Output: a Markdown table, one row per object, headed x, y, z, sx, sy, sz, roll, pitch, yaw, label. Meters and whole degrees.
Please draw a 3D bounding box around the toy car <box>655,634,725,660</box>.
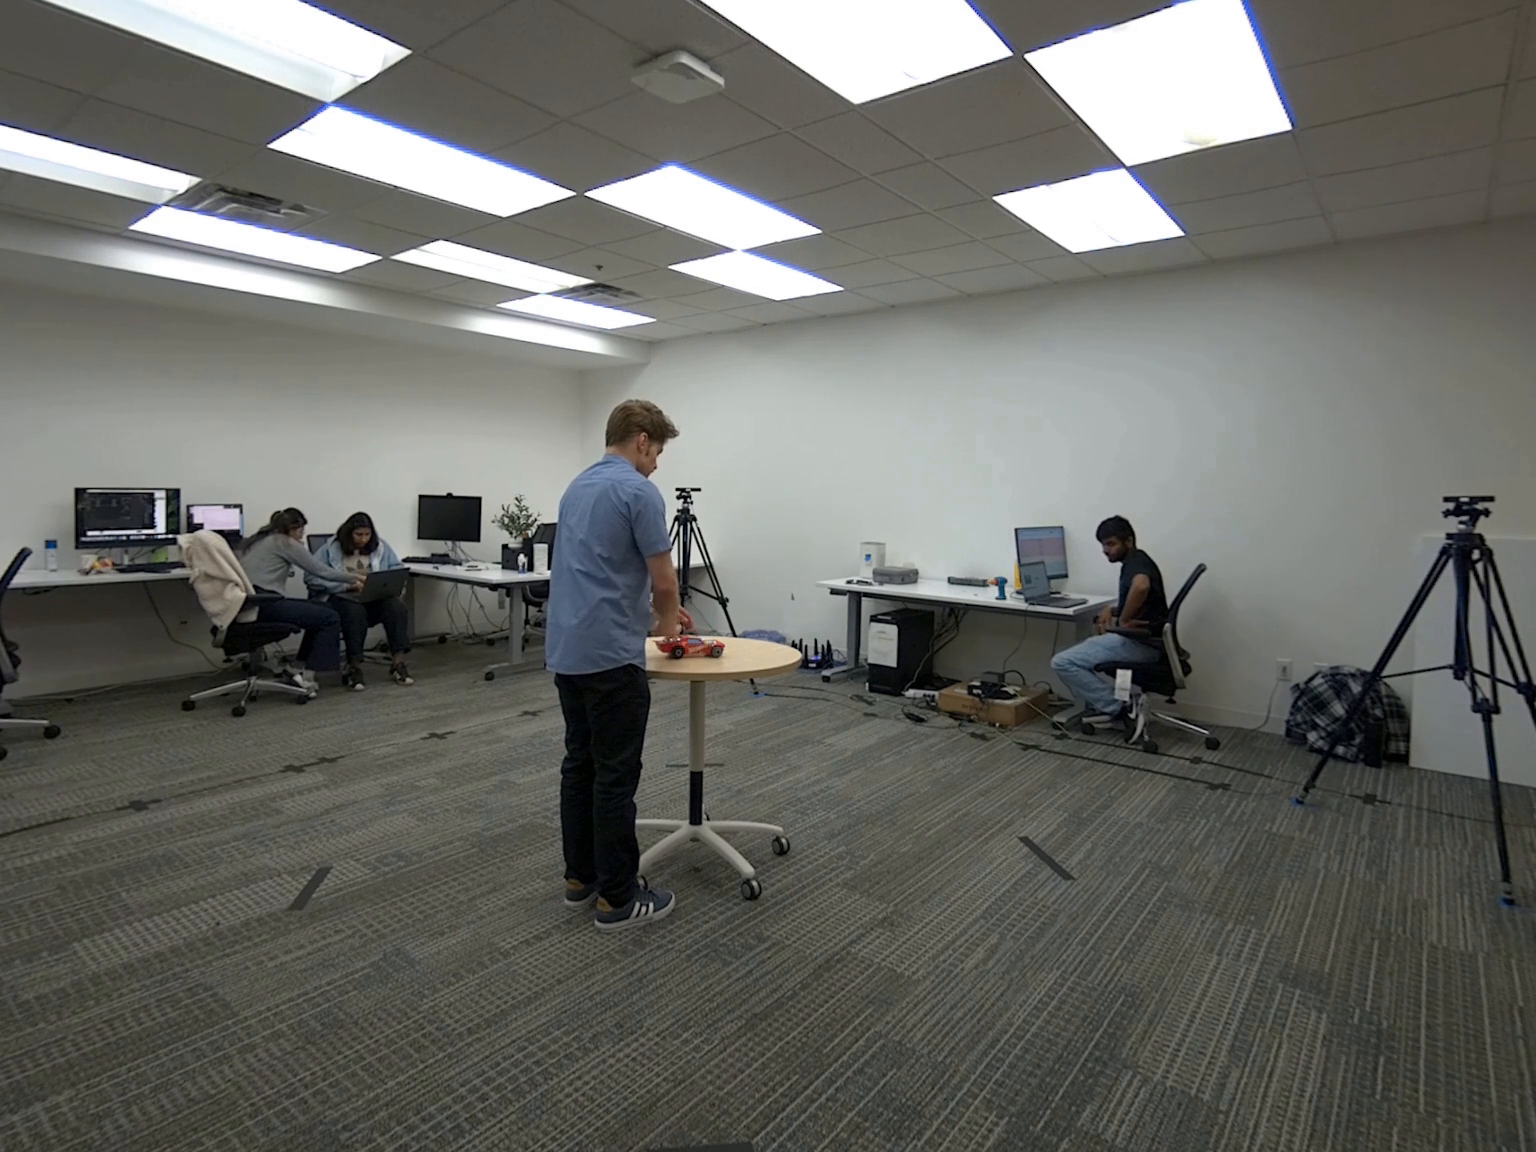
| x | y | z | sx | sy | sz | roll | pitch | yaw | label |
| --- | --- | --- | --- | --- | --- | --- | --- | --- | --- |
| -0.293 | 0.254 | 3.070 | 0.249 | 0.083 | 0.133 | 11 | 1 | -19 | toy car |
